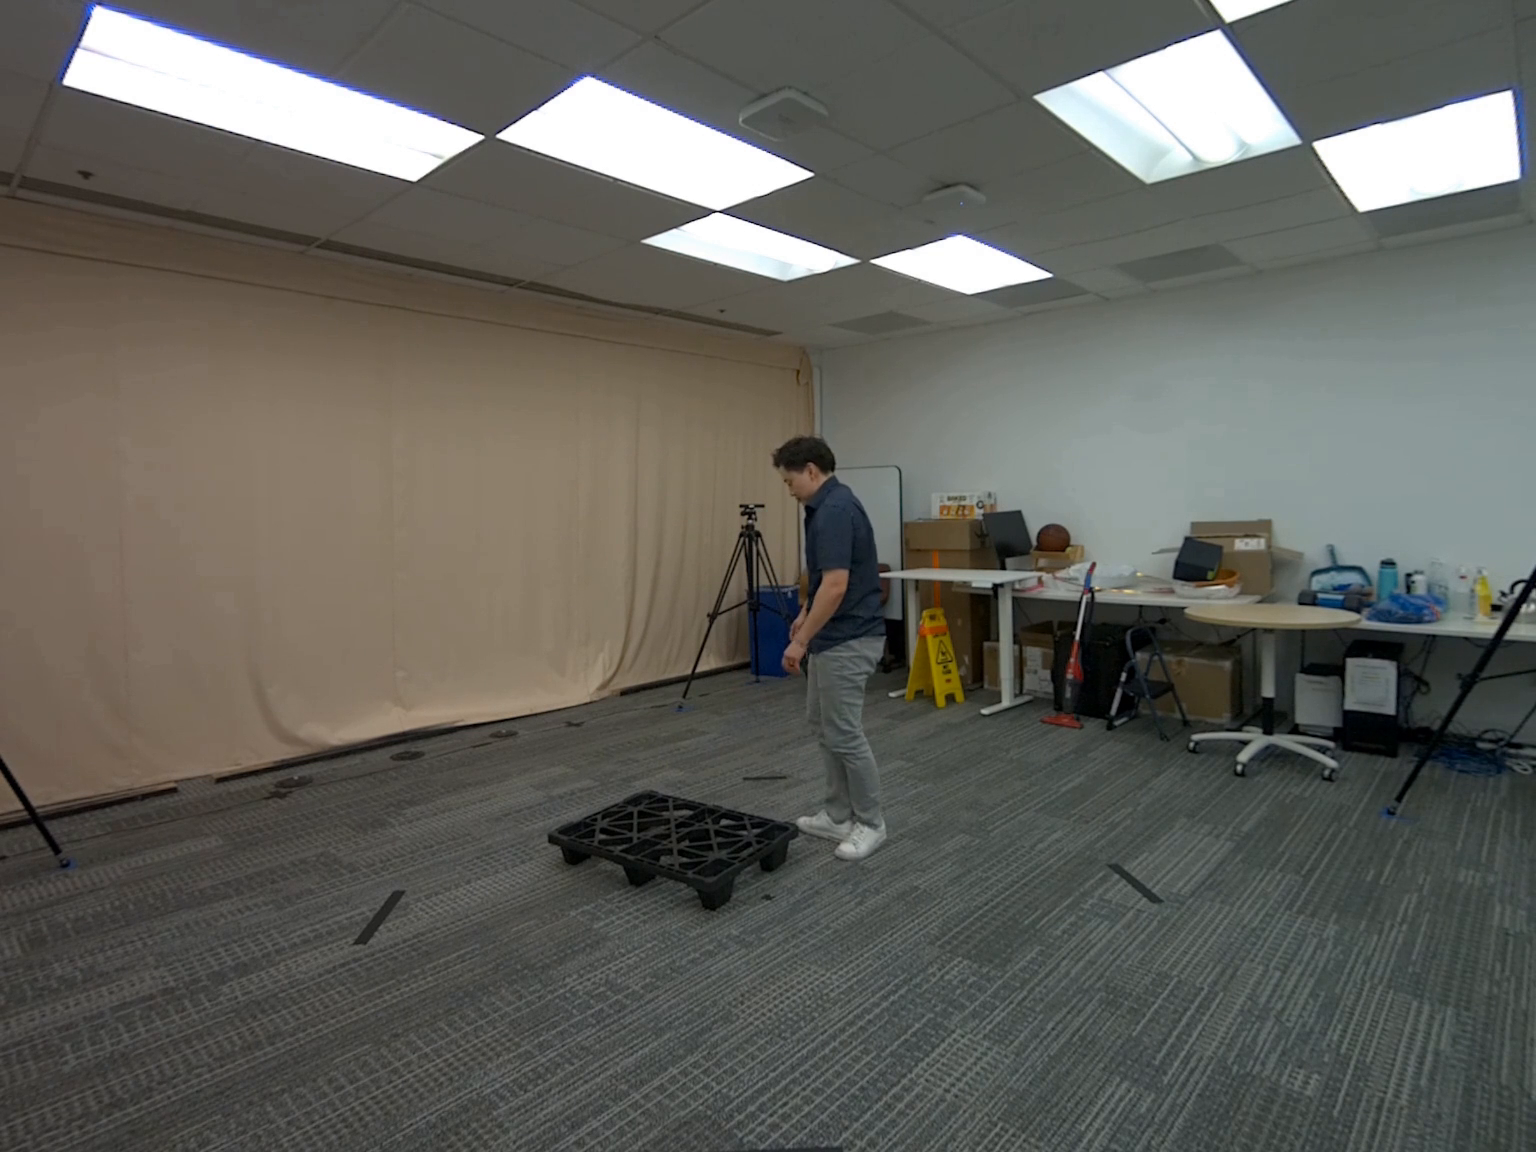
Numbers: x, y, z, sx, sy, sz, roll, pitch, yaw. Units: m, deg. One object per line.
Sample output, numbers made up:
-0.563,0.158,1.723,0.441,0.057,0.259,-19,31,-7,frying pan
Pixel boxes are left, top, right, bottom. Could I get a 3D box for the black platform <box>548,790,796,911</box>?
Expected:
-0.367,1.053,3.289,0.830,0.143,0.588,2,5,34,black platform
